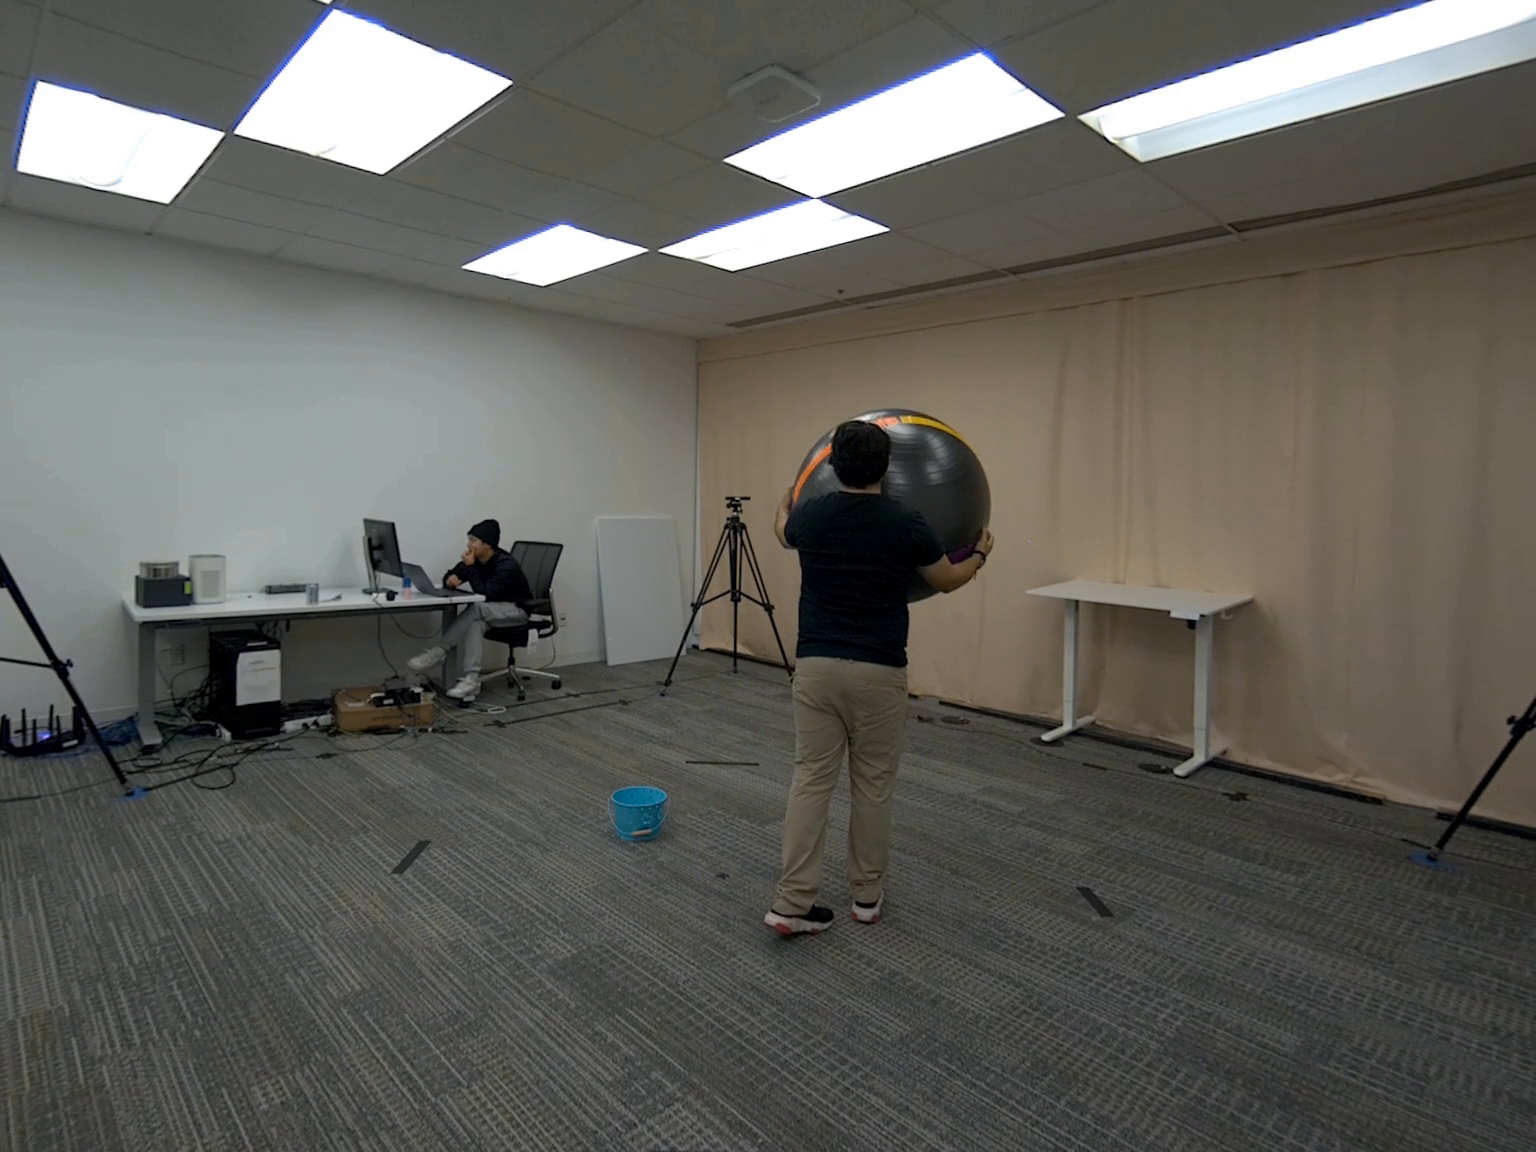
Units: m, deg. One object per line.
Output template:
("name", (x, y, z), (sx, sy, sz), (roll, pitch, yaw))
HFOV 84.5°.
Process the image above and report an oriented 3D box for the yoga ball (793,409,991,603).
("yoga ball", (0.470, -0.258, 3.259), (0.757, 0.756, 0.761), (1, 4, -1))
